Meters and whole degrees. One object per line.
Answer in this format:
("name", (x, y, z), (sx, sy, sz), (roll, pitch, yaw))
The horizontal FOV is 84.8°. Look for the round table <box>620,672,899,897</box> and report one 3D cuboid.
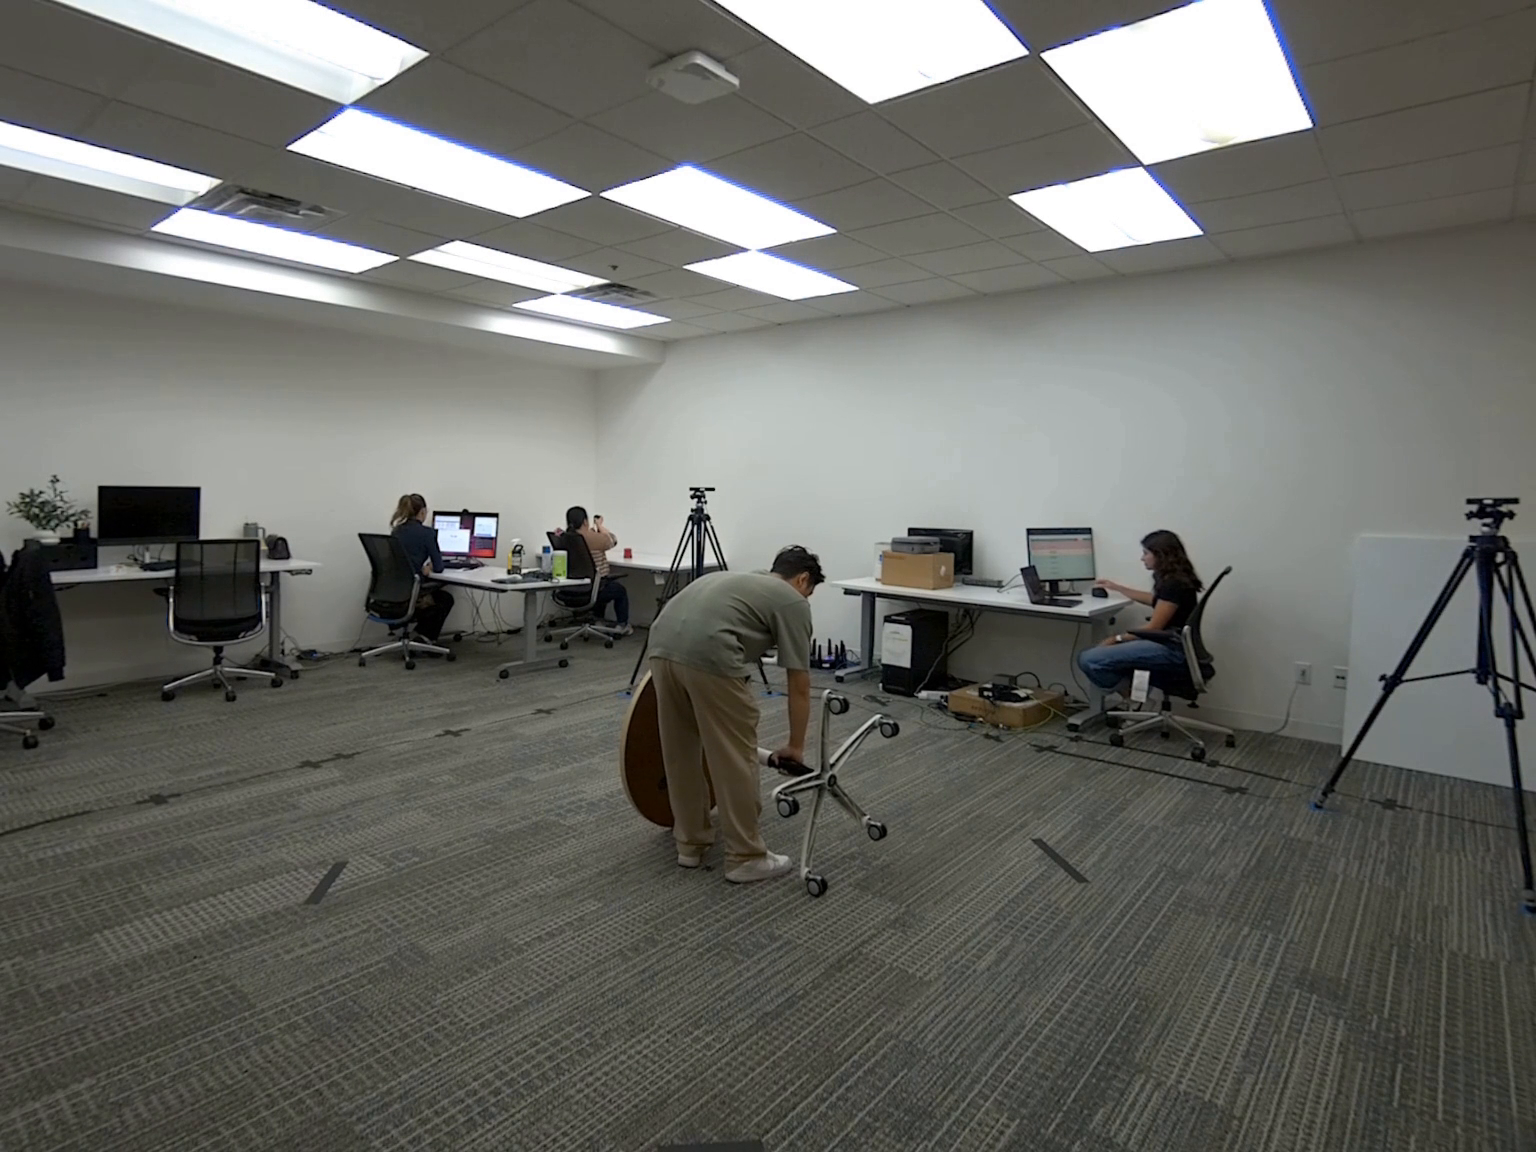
("round table", (-0.016, 0.692, 3.250), (0.814, 0.781, 0.762), (9, 8, 39))
